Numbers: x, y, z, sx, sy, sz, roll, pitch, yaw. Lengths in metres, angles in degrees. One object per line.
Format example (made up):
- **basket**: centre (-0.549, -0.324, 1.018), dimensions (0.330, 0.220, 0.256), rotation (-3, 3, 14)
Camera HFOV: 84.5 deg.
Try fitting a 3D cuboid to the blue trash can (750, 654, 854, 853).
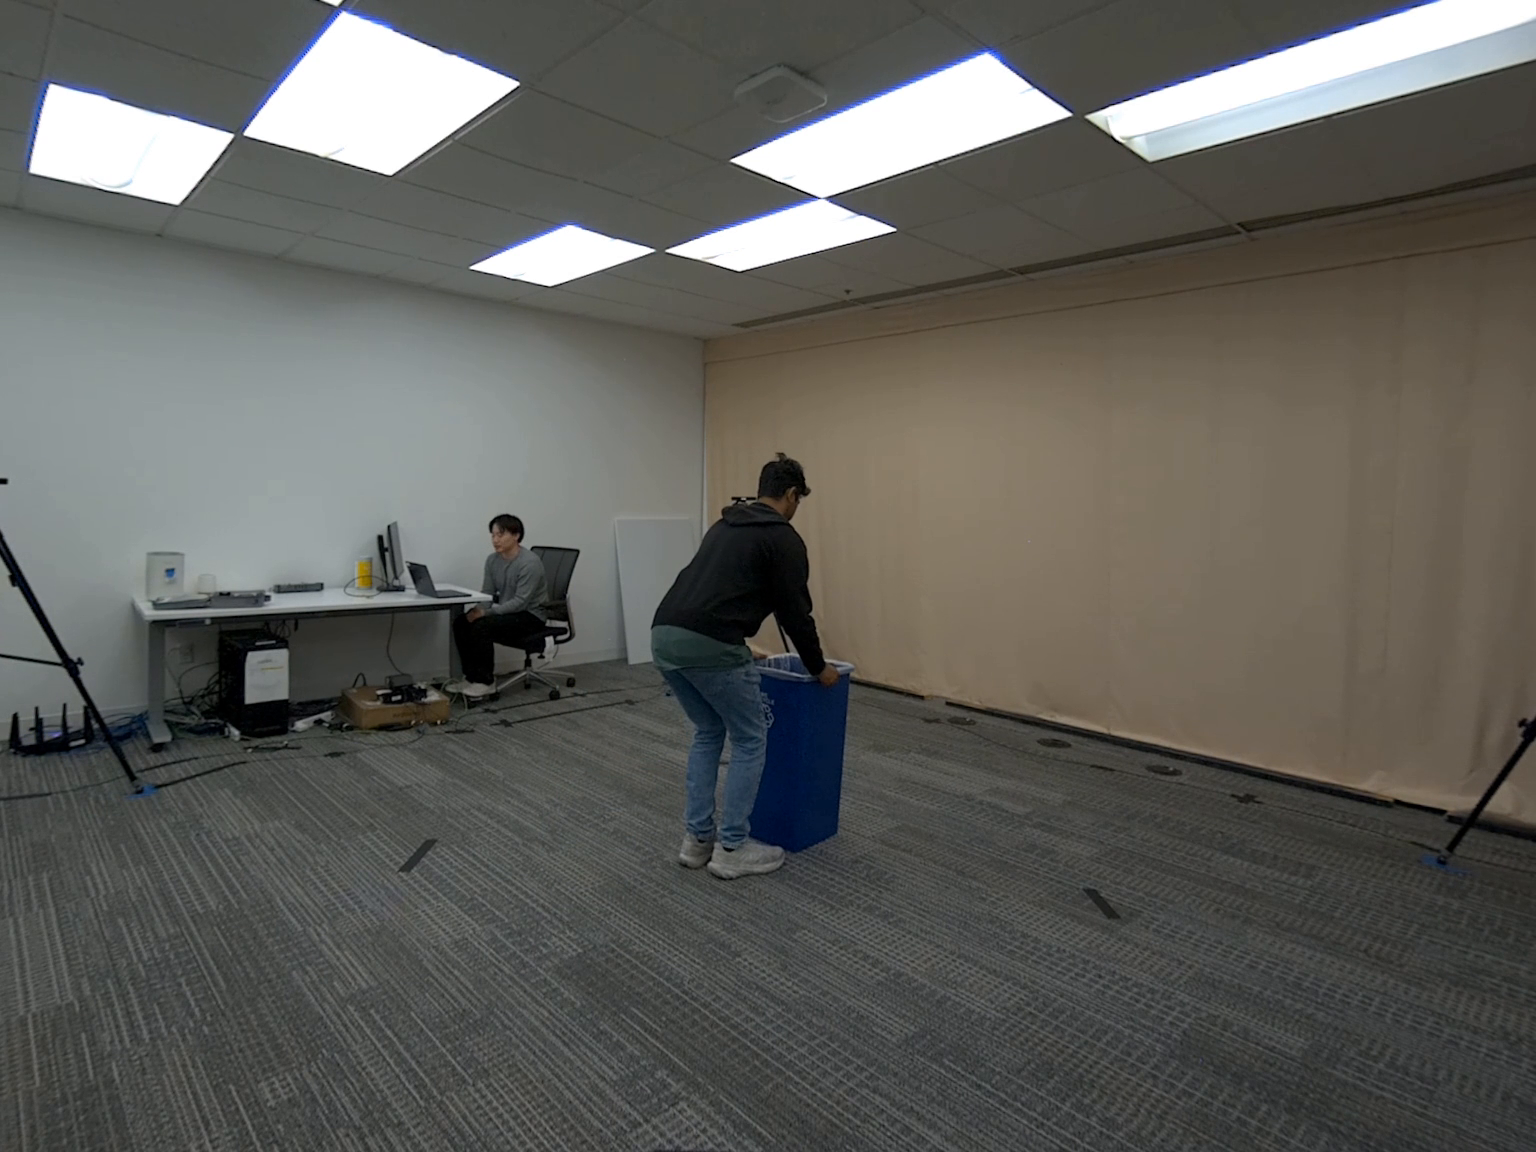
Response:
- **blue trash can**: centre (0.104, 0.721, 3.508), dimensions (0.383, 0.712, 0.369), rotation (4, 4, 39)
